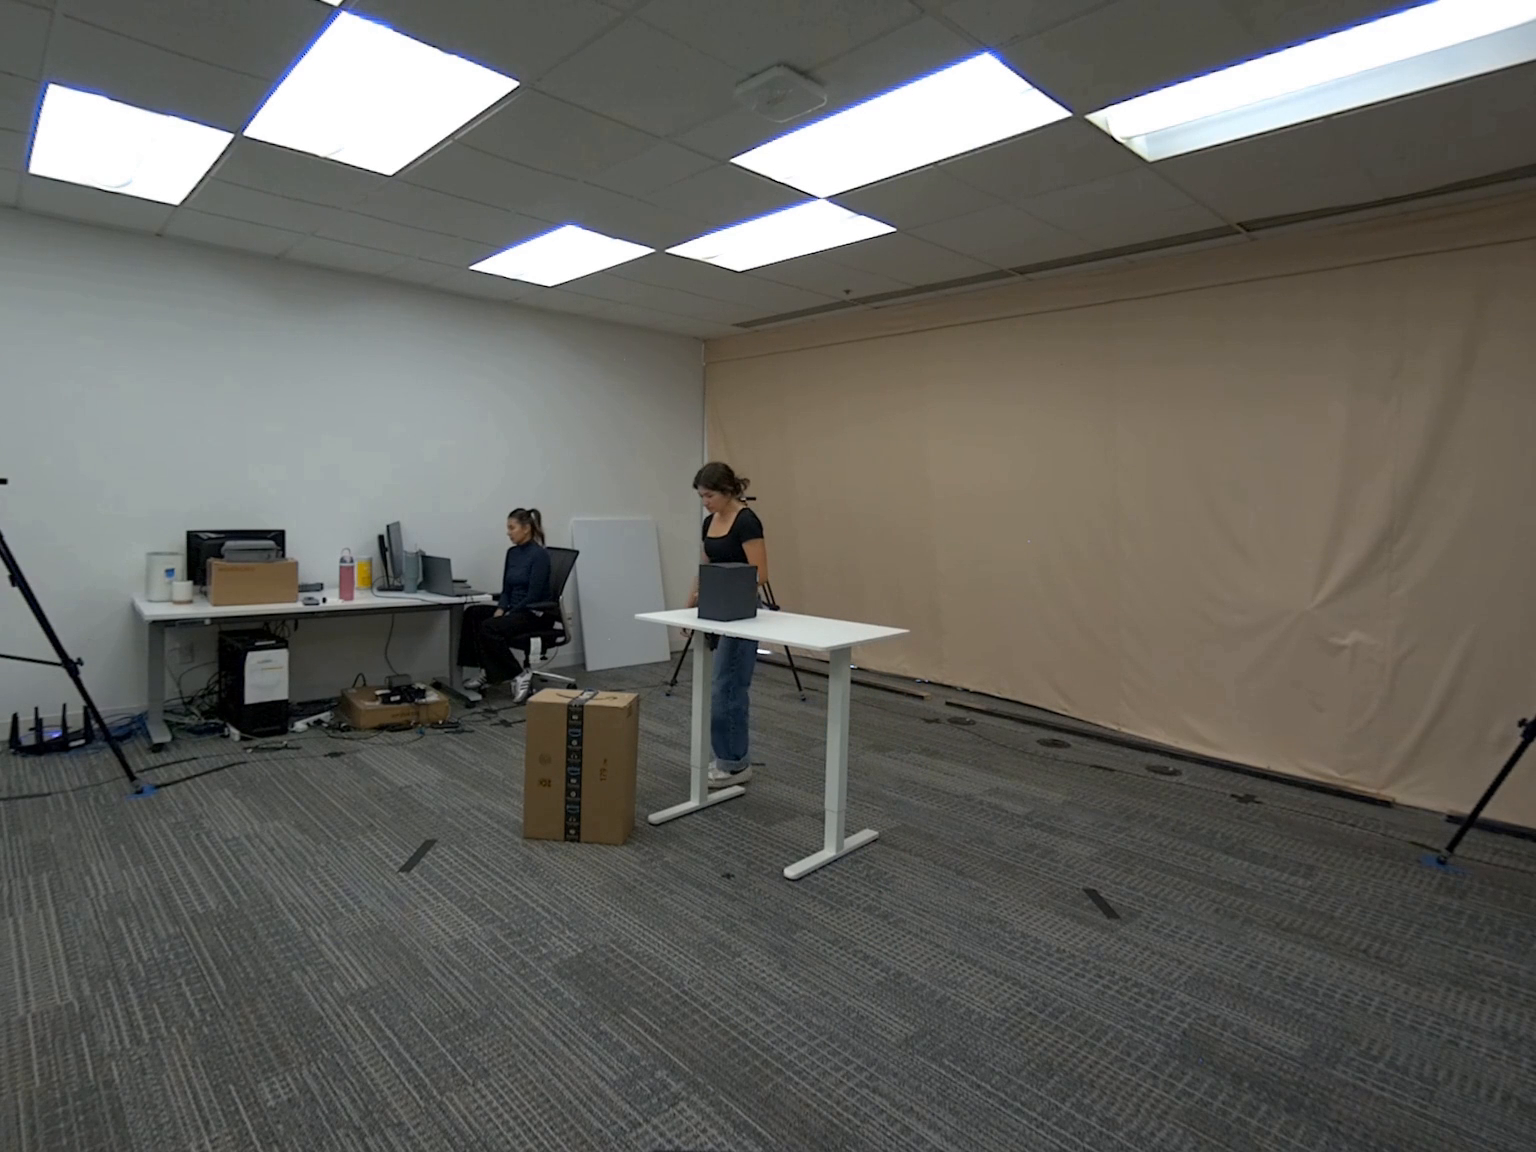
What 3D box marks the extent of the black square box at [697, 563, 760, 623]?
[{"bbox_3d":[-0.177,0.065,3.597,0.160,0.227,0.212,5,5,40],"label":"black square box"}]
